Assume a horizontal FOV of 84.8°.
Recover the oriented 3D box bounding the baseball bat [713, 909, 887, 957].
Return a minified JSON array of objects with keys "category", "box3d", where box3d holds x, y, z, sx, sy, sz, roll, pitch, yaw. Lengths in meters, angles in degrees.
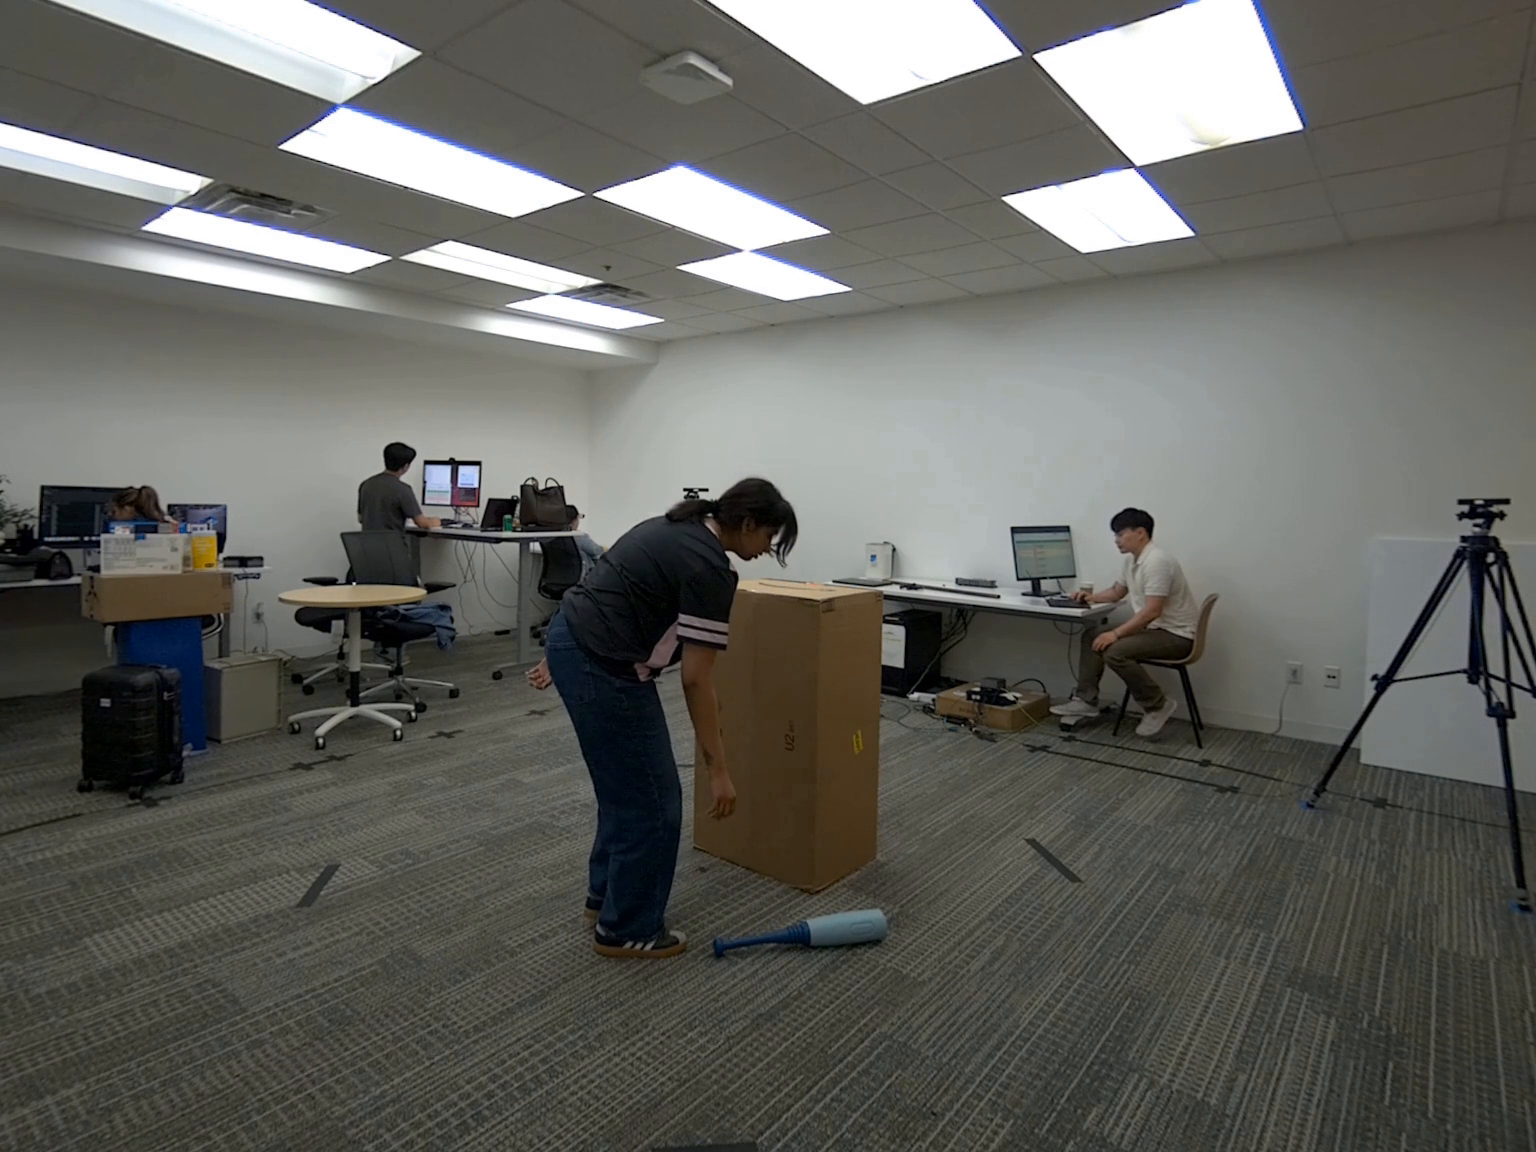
[{"category":"baseball bat","box3d":[0.102,1.094,2.593,0.536,0.089,0.090,-2,5,-12]}]
